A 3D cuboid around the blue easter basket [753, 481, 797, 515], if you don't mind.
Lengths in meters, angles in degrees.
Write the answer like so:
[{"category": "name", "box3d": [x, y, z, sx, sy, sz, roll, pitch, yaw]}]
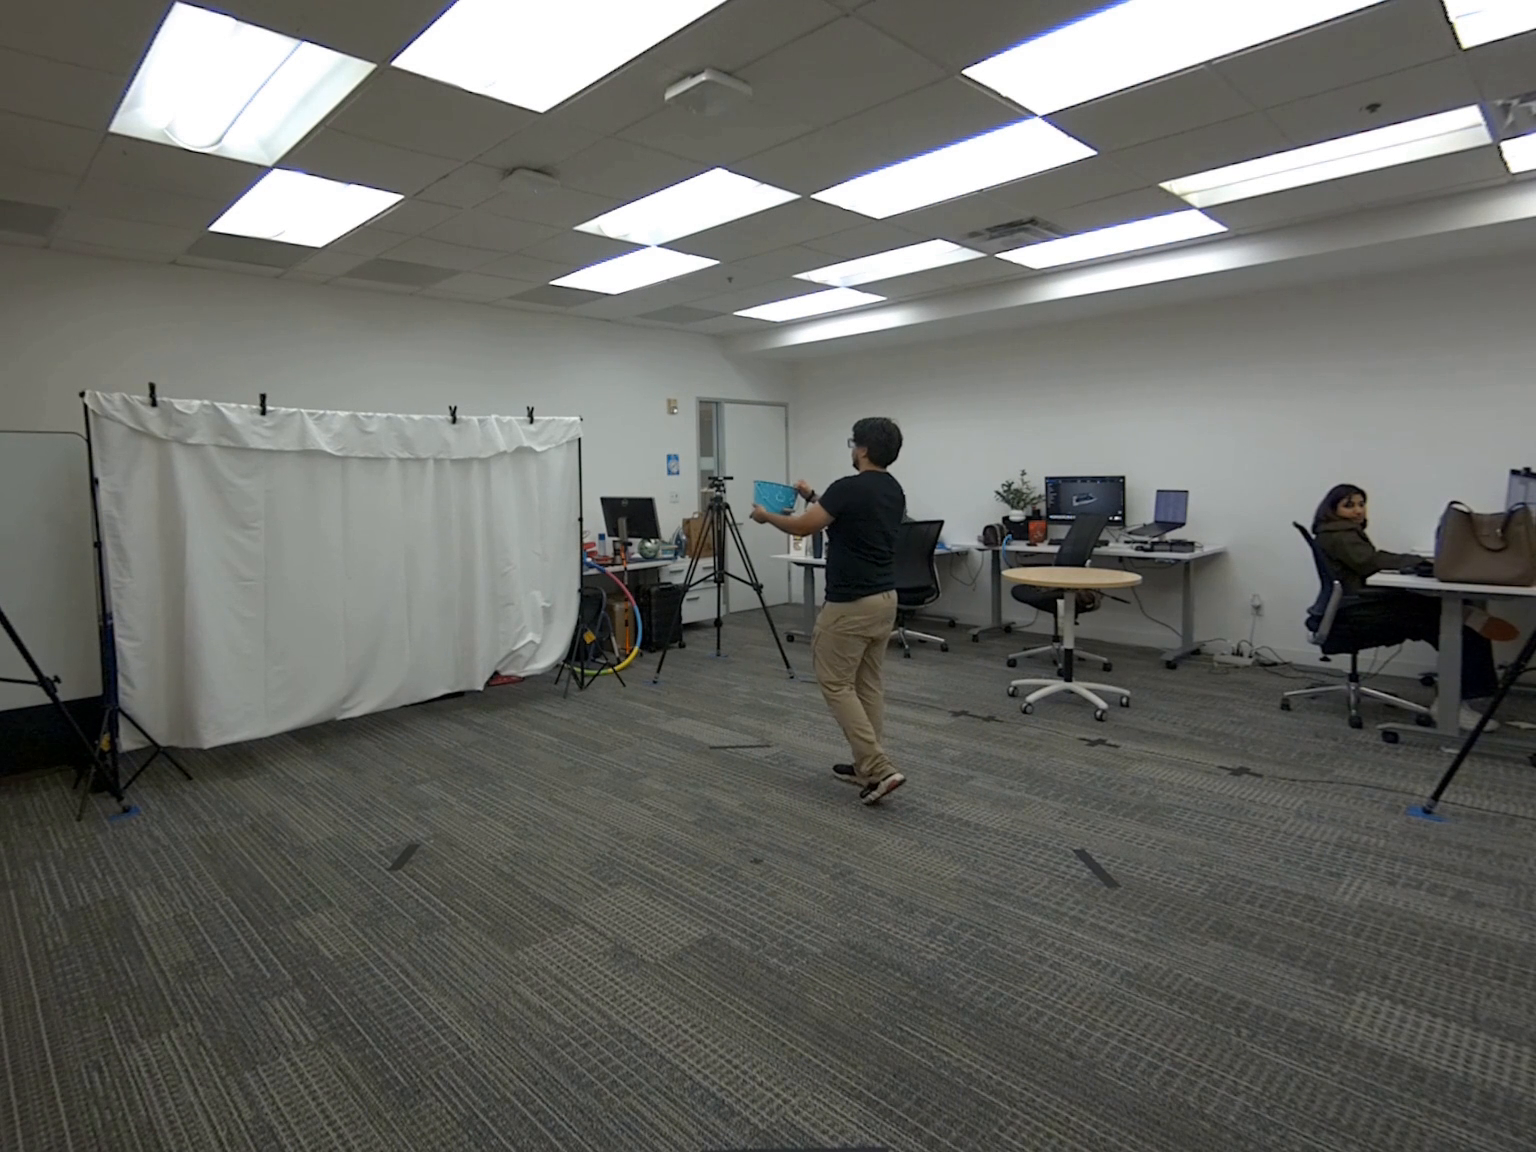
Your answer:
[{"category": "blue easter basket", "box3d": [0.035, -0.364, 4.120, 0.243, 0.156, 0.243, 10, -3, -1]}]
